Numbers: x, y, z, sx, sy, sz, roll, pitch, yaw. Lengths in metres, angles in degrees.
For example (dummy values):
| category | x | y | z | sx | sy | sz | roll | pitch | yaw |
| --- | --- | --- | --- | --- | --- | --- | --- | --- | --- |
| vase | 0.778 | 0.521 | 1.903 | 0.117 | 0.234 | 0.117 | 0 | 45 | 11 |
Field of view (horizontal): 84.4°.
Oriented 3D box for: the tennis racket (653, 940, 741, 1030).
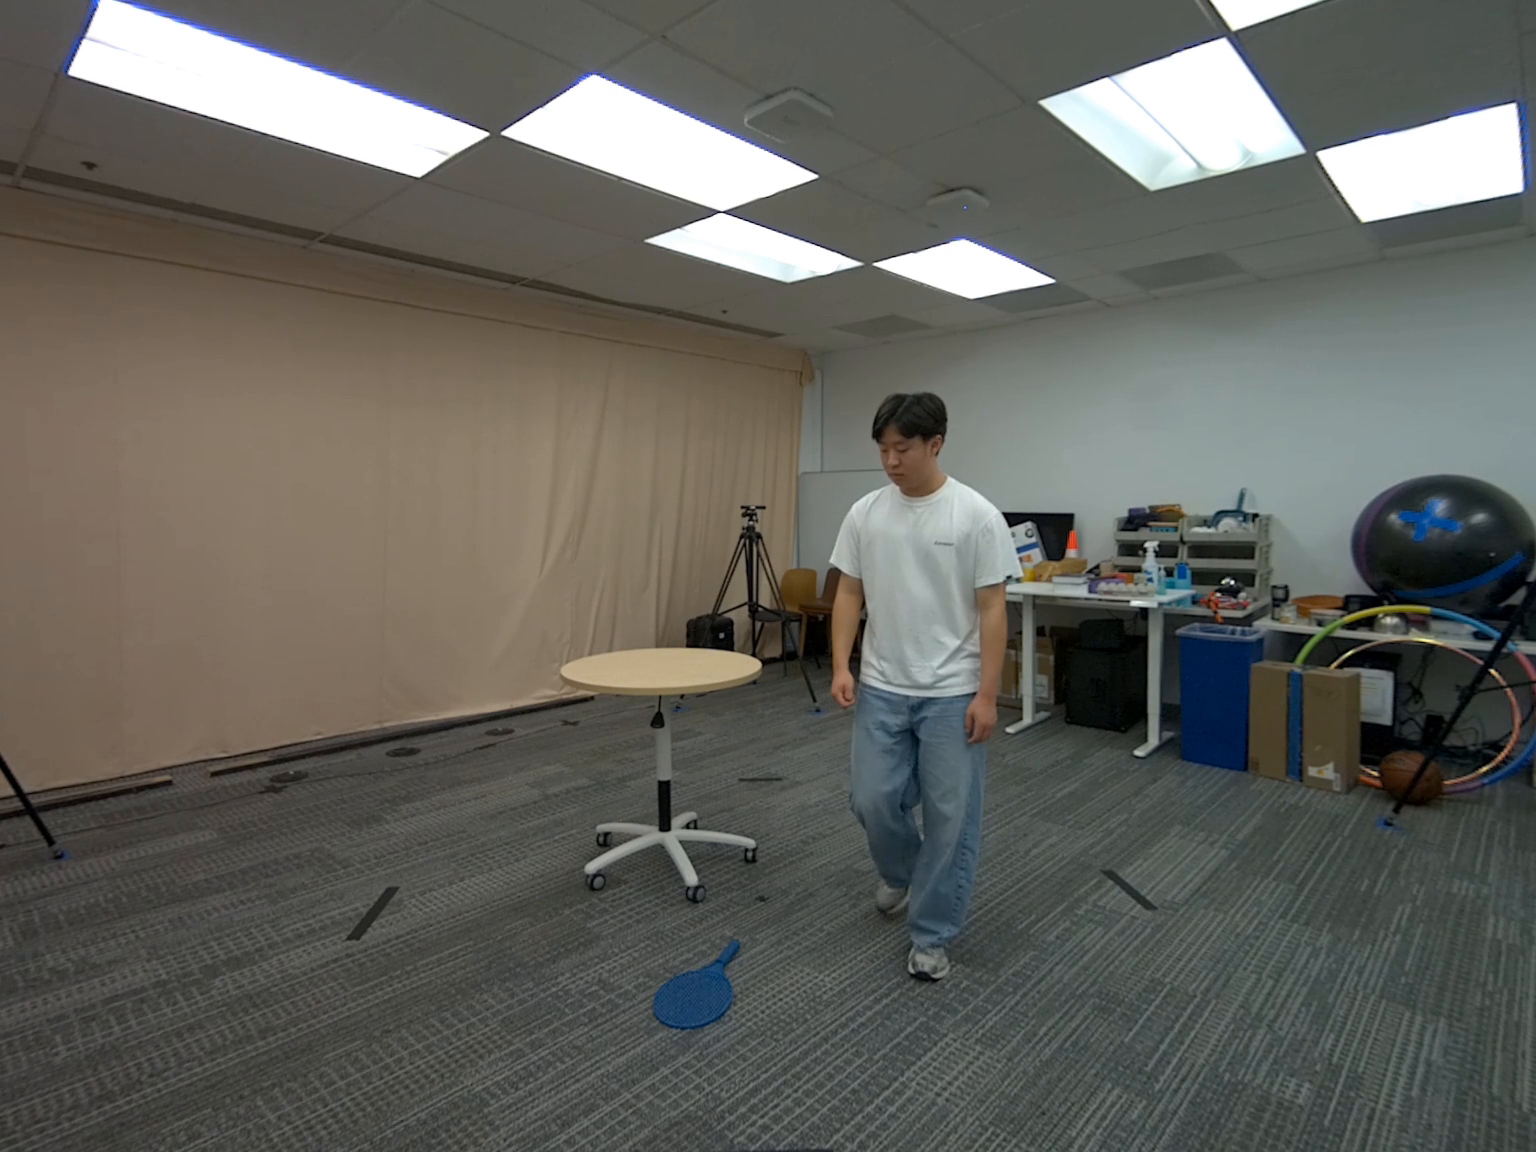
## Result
| category | x | y | z | sx | sy | sz | roll | pitch | yaw |
| --- | --- | --- | --- | --- | --- | --- | --- | --- | --- |
| tennis racket | -0.175 | 1.177 | 2.447 | 0.219 | 0.031 | 0.424 | 2 | 7 | 24 |
